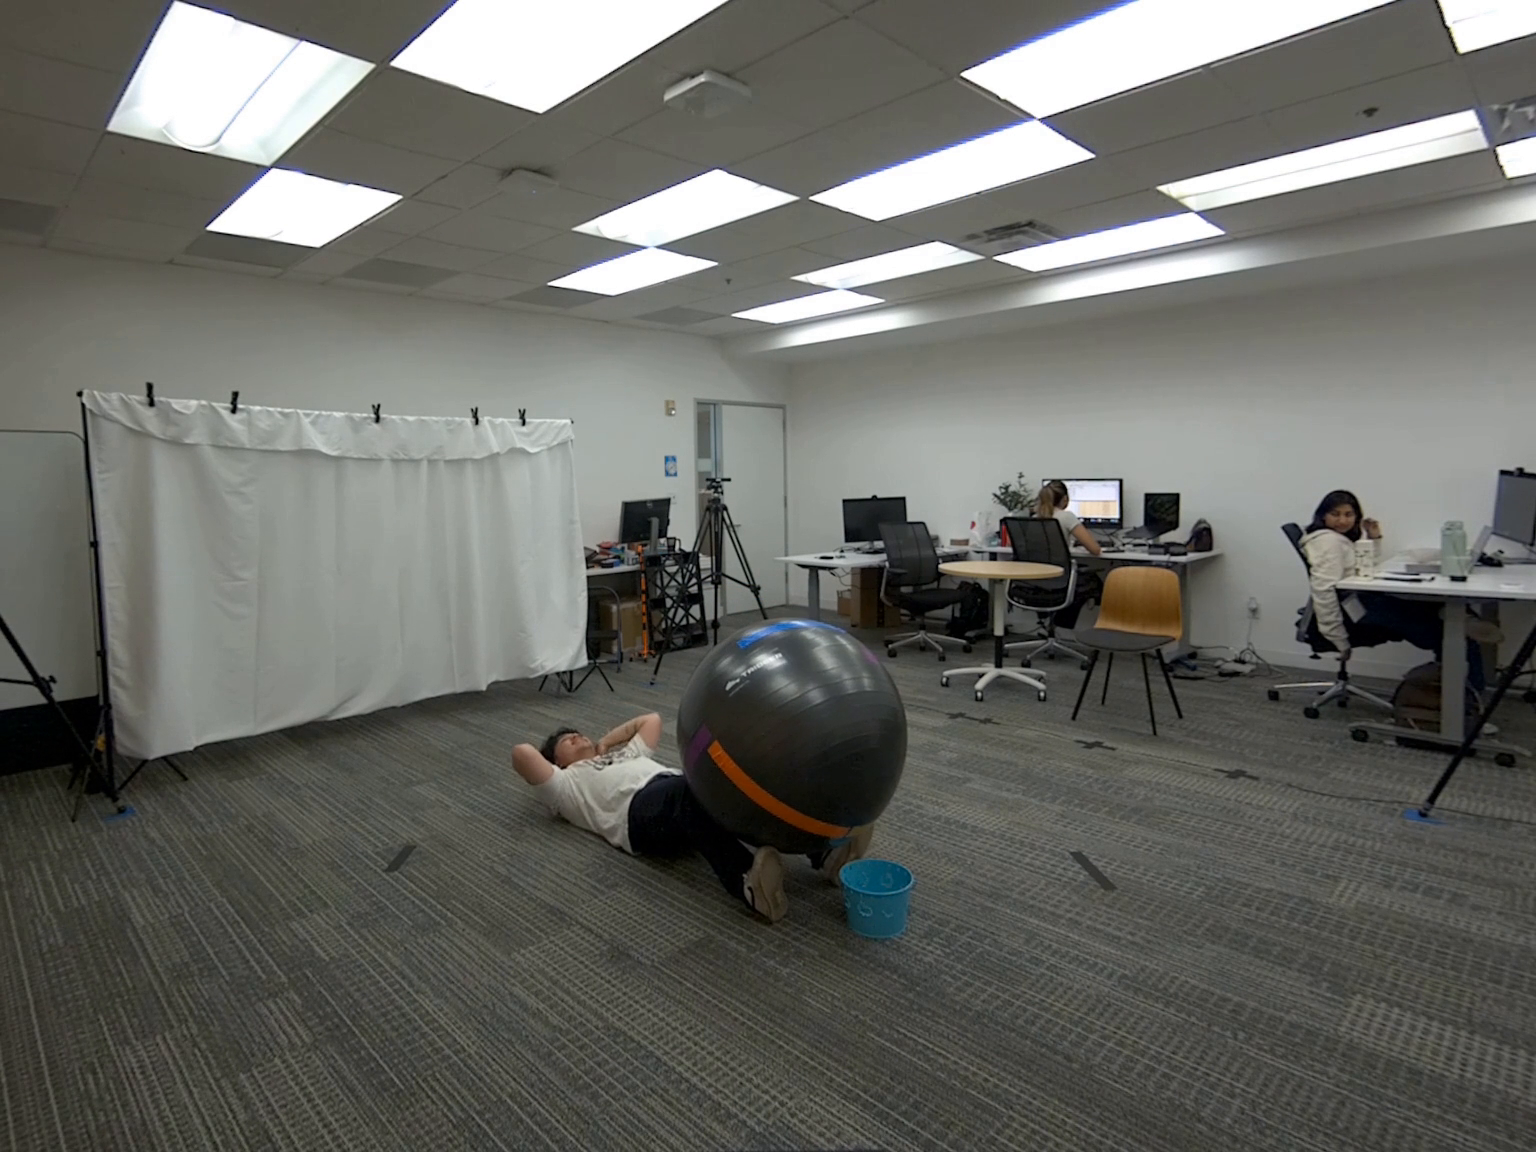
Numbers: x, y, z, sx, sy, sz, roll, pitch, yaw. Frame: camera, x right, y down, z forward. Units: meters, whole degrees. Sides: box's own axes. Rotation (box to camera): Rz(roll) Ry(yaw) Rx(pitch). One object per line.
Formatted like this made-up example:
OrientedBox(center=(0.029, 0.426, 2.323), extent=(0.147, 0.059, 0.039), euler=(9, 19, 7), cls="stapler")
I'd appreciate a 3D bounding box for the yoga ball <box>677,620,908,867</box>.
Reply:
OrientedBox(center=(0.077, 0.517, 2.839), extent=(0.757, 0.755, 0.762), euler=(-1, 5, -2), cls="yoga ball")
